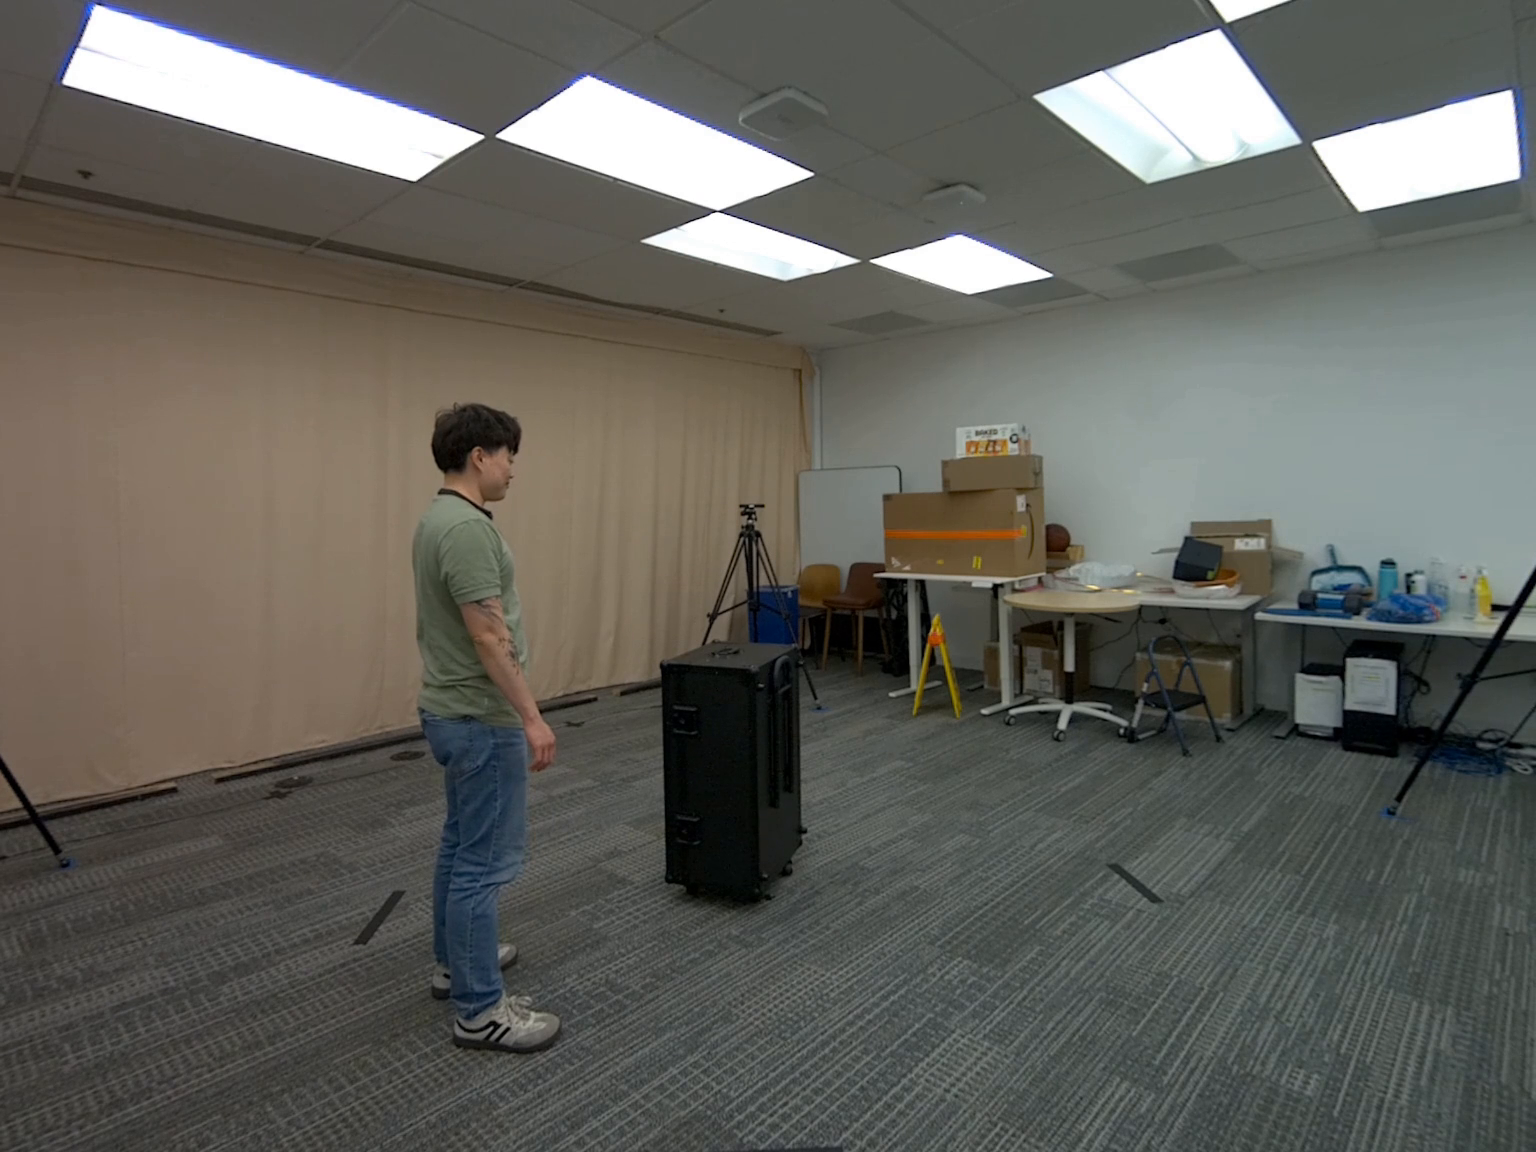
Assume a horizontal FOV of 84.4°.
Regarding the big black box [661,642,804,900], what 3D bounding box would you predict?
[{"bbox_3d":[-0.105,0.704,3.093,0.405,0.859,0.510,1,4,21],"label":"big black box"}]
